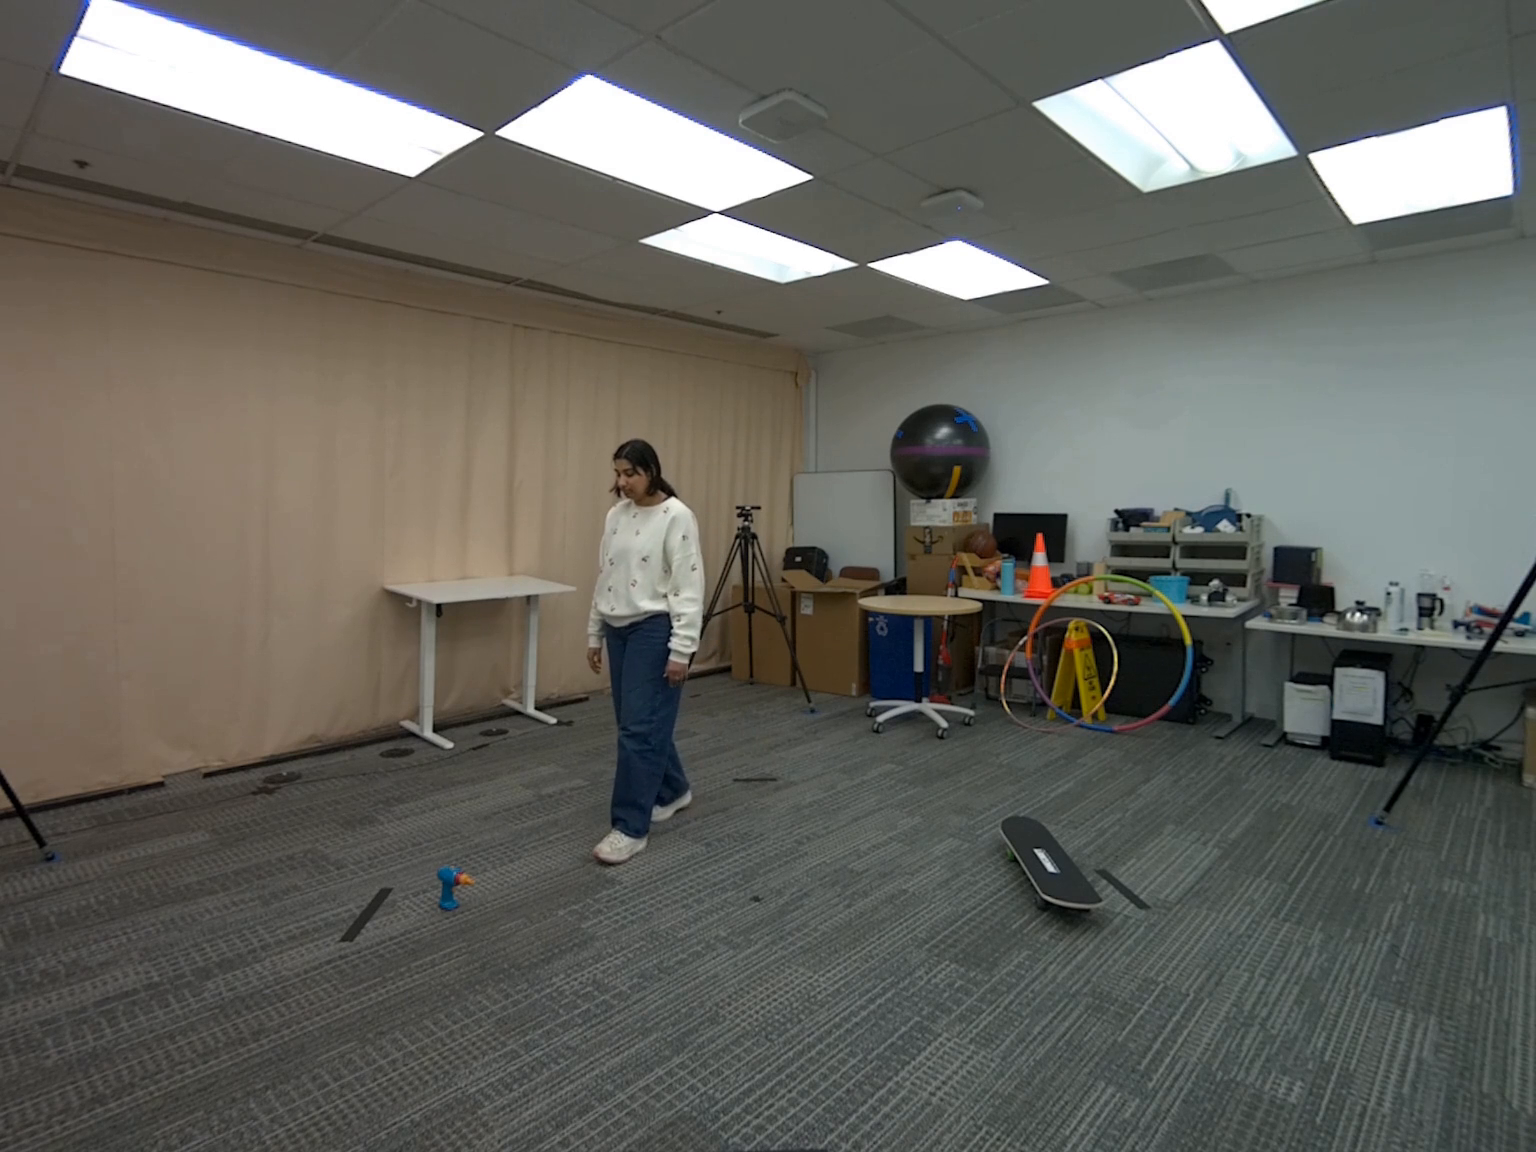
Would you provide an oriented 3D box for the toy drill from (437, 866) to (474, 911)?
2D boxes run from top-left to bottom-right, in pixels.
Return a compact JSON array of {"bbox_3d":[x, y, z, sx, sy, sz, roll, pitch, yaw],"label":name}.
[{"bbox_3d":[-1.083,1.084,2.922,0.173,0.146,0.060,1,1,19],"label":"toy drill"}]
